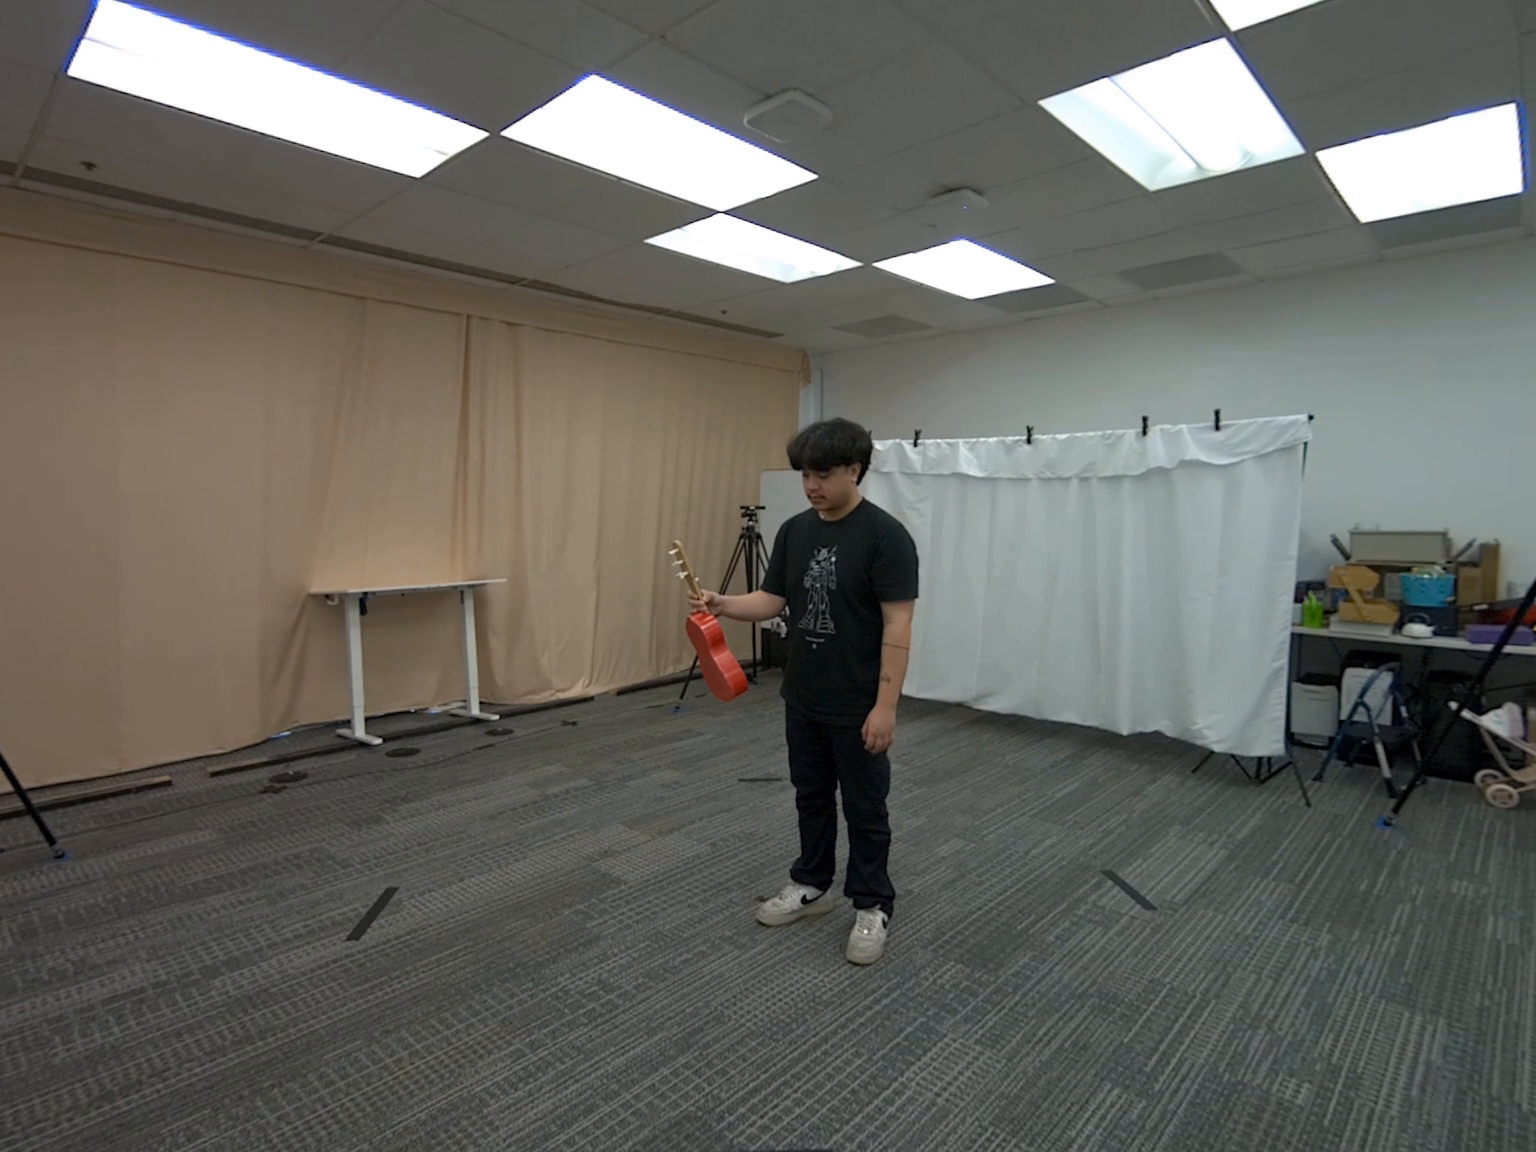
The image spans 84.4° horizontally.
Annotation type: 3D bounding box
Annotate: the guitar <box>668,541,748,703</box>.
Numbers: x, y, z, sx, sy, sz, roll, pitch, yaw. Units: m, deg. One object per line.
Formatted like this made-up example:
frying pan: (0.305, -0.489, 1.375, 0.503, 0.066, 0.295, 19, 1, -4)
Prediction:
guitar: (-0.206, 0.143, 2.567, 0.070, 0.500, 0.195, -24, -4, -21)
